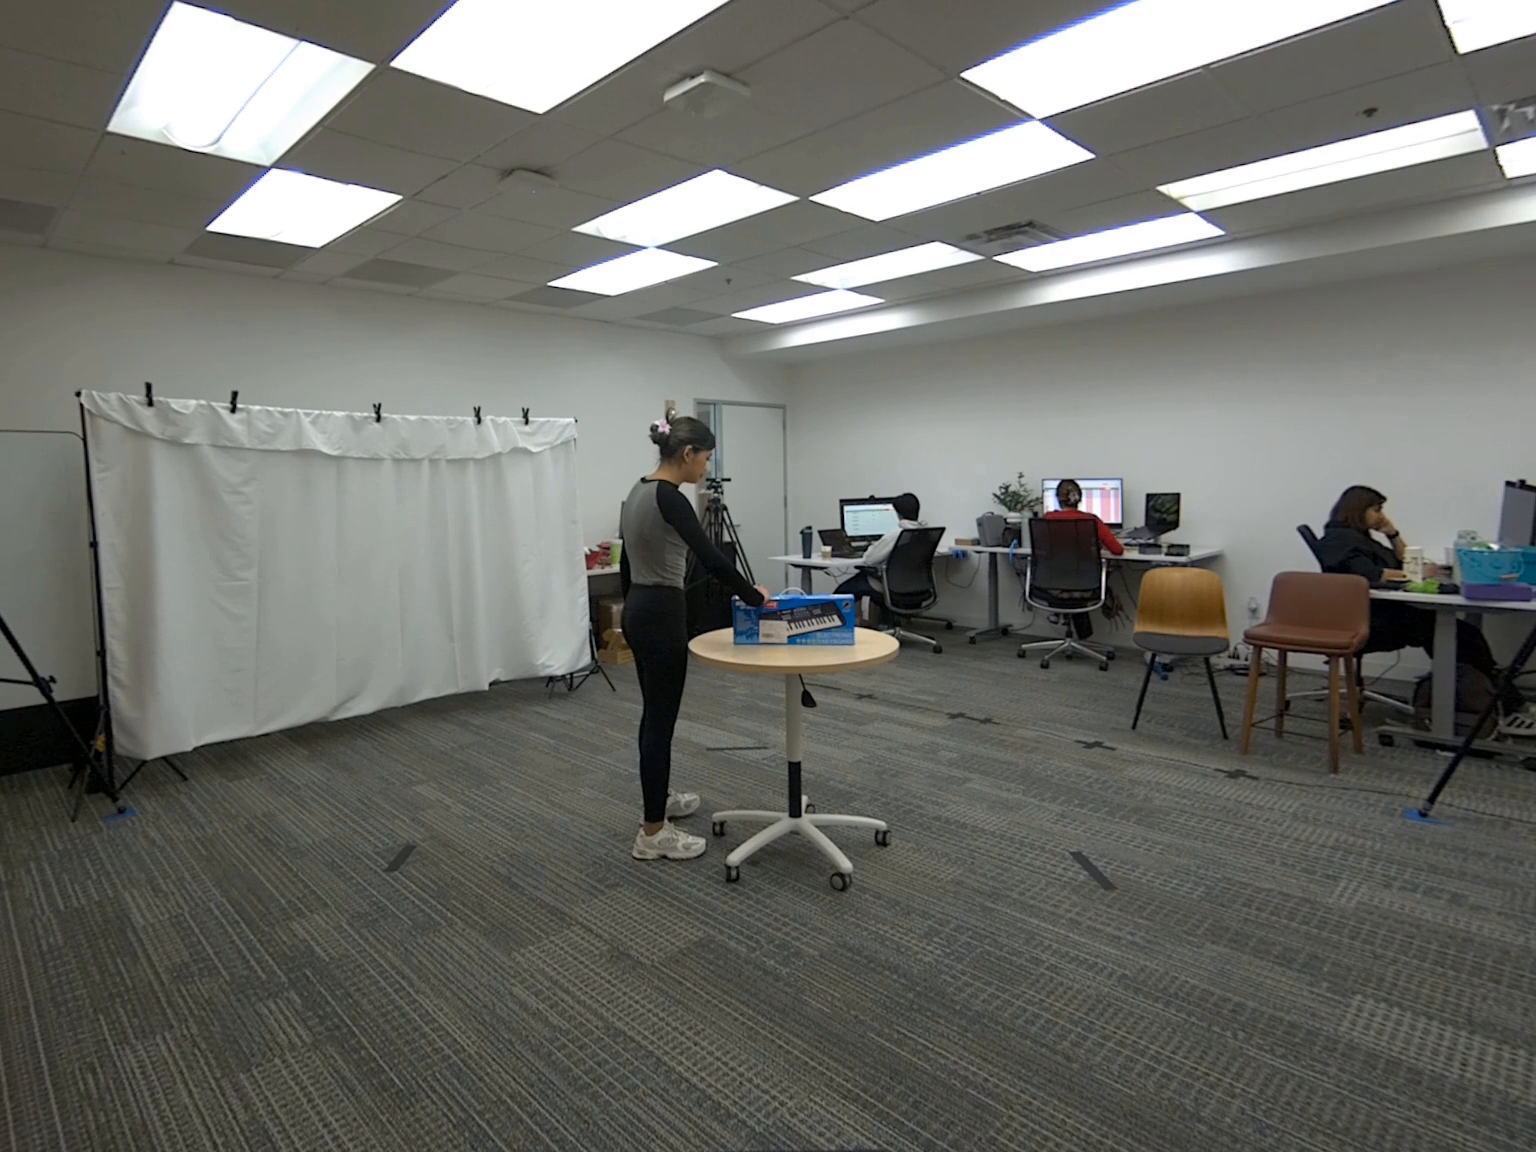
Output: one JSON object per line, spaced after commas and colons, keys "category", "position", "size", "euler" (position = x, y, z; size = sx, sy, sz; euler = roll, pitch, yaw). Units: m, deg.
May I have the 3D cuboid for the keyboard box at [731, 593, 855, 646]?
{"category": "keyboard box", "position": [0.092, 0.158, 3.090], "size": [0.439, 0.175, 0.059], "euler": [1, 7, 6]}
